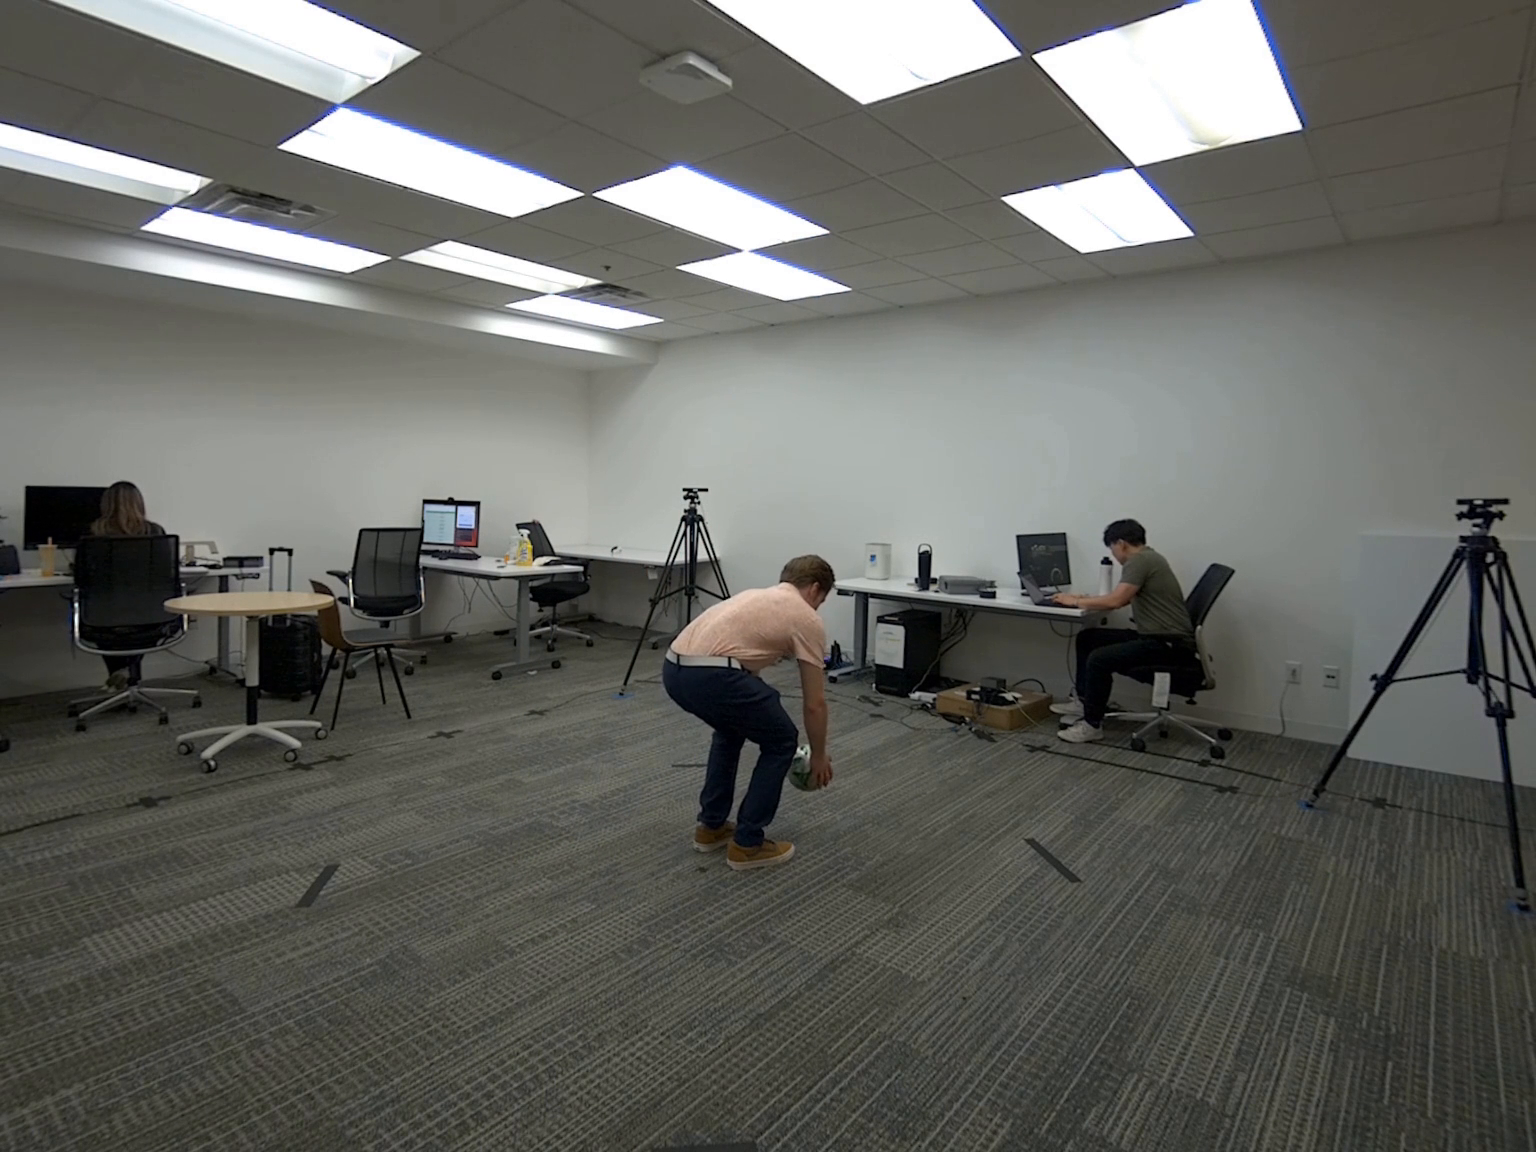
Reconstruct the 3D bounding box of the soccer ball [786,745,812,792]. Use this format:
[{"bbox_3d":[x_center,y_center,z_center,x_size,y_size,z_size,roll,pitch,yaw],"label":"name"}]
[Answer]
[{"bbox_3d":[0.153,0.778,3.485,0.187,0.187,0.188,1,4,-2],"label":"soccer ball"}]
